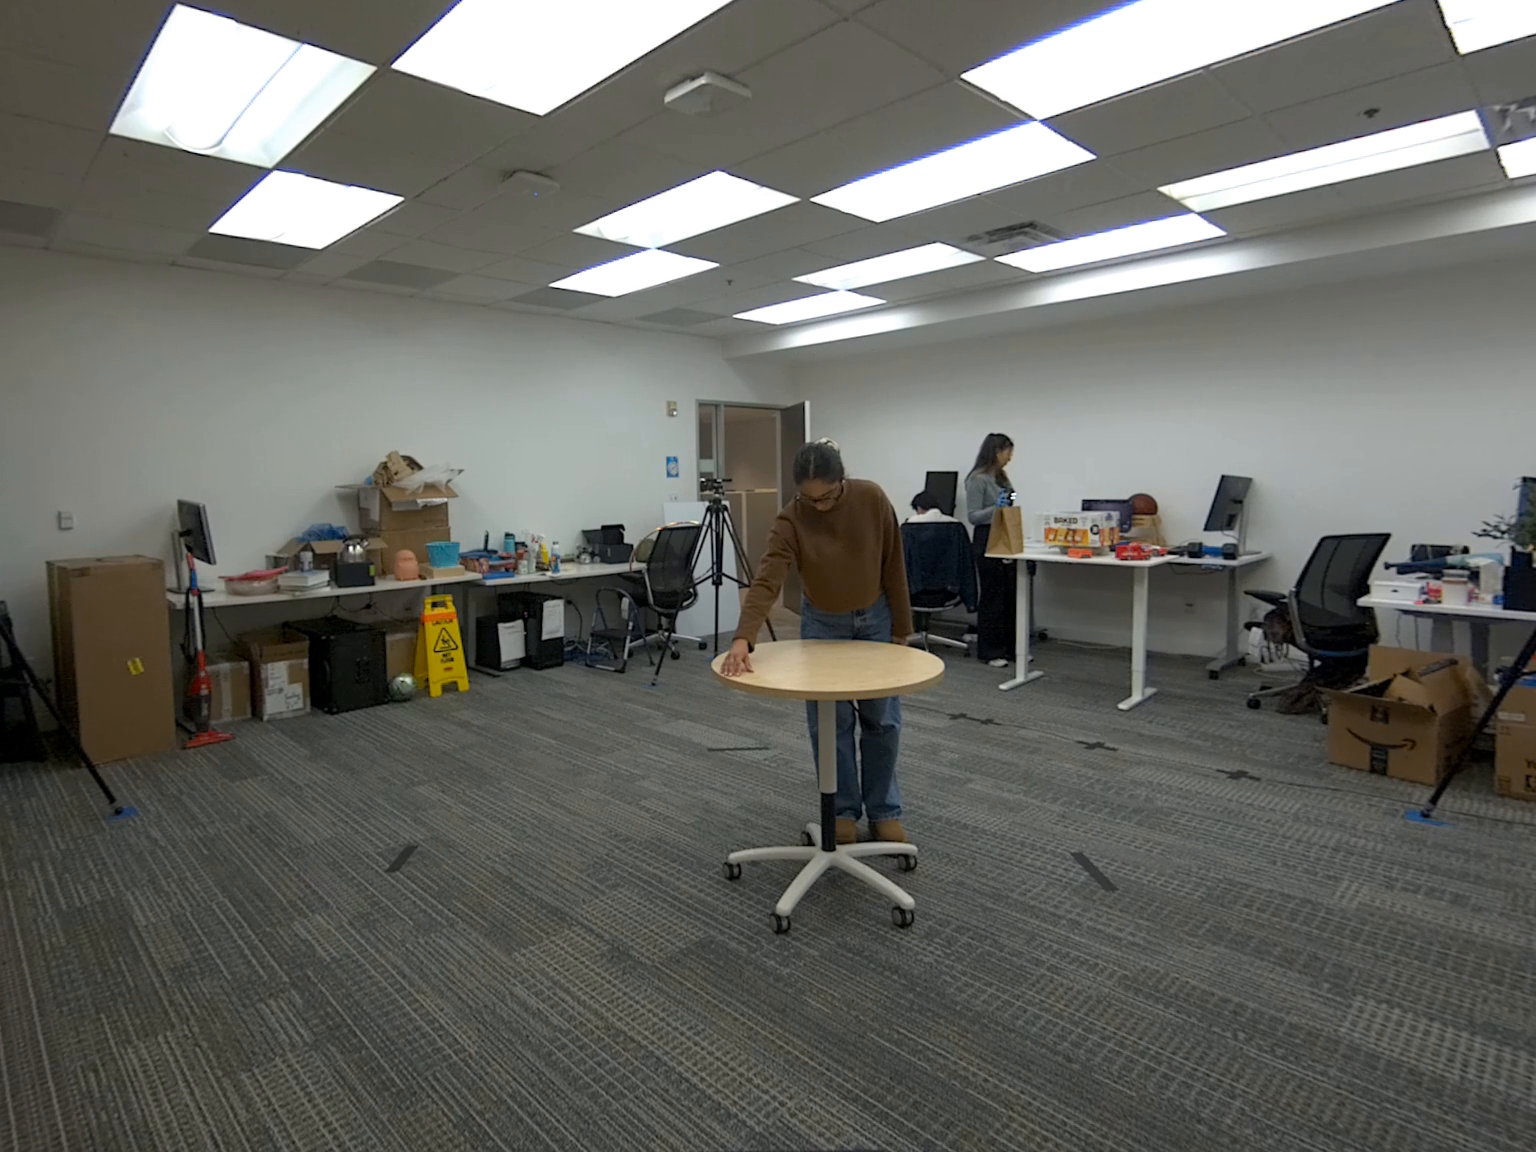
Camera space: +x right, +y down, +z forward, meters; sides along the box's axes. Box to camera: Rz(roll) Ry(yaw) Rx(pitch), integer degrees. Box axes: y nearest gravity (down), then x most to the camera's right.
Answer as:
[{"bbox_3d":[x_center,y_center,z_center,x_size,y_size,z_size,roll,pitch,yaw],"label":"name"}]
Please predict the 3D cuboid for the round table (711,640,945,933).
[{"bbox_3d":[0.204,0.681,2.868,0.763,0.790,0.768,-1,5,-2],"label":"round table"}]
